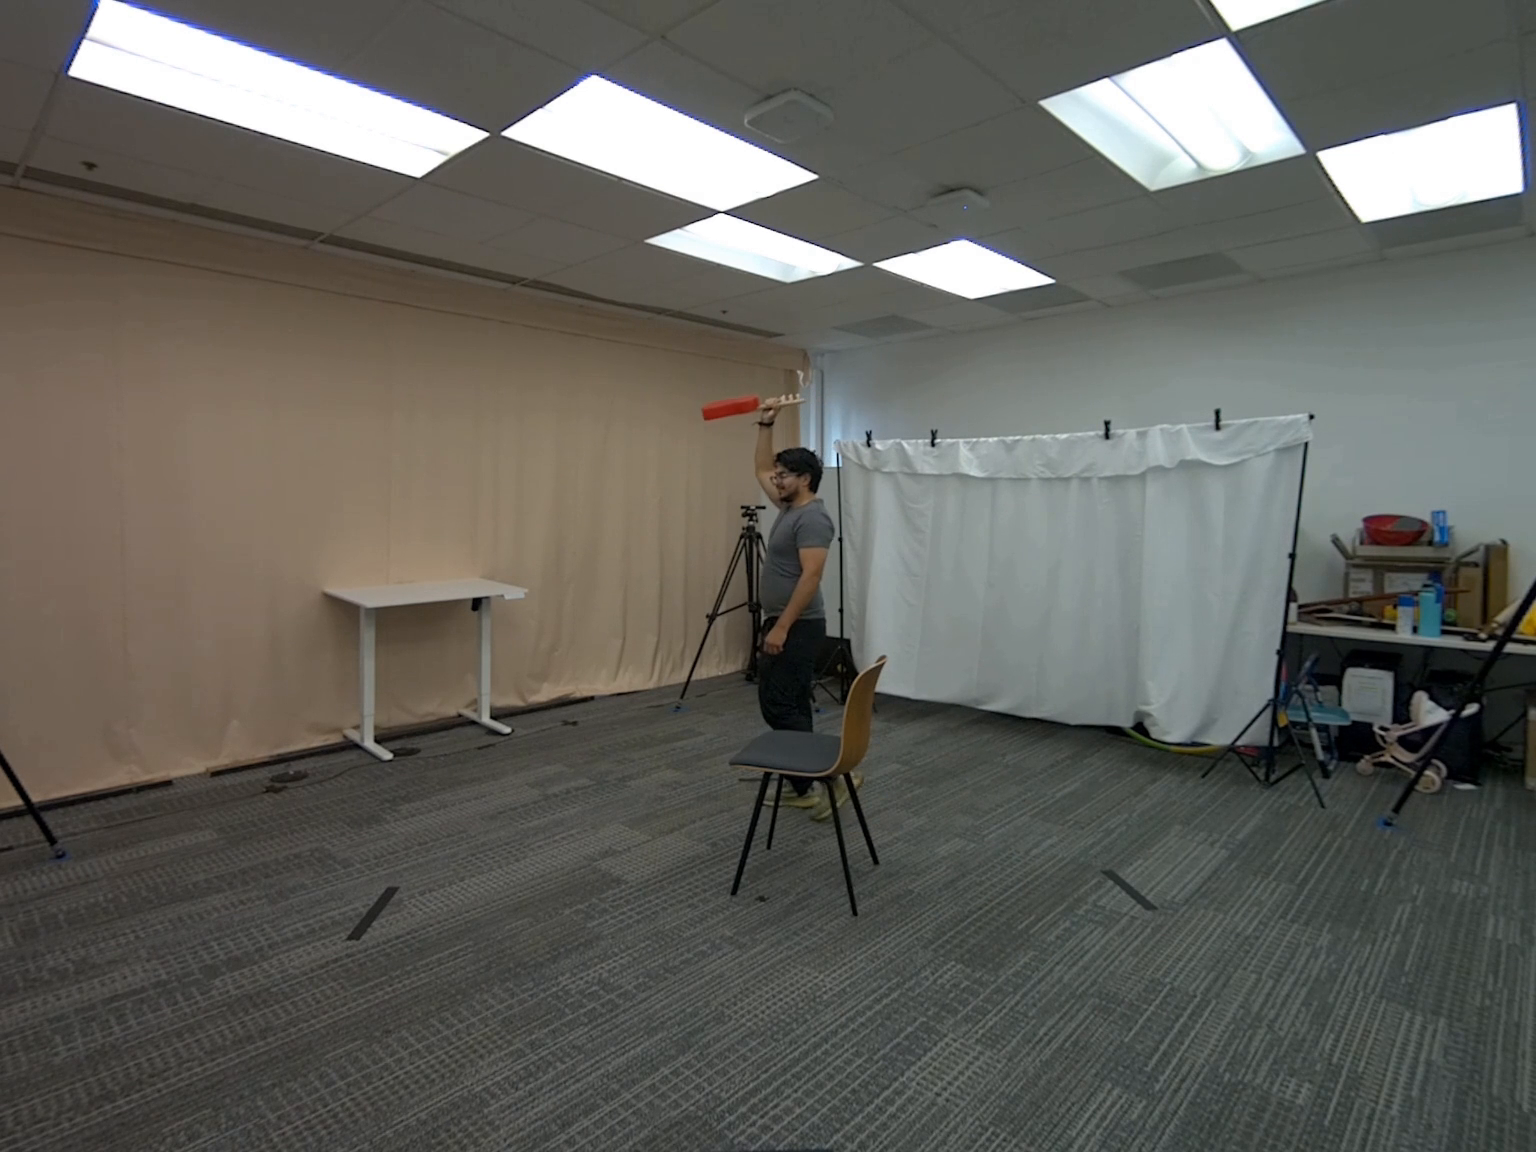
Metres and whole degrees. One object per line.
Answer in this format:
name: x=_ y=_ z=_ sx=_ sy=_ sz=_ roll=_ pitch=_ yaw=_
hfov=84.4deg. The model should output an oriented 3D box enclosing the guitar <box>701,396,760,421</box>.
guitar: x=-0.068 y=-0.823 z=4.018 sx=0.504 sy=0.070 sz=0.193 roll=-8 pitch=18 yaw=13
